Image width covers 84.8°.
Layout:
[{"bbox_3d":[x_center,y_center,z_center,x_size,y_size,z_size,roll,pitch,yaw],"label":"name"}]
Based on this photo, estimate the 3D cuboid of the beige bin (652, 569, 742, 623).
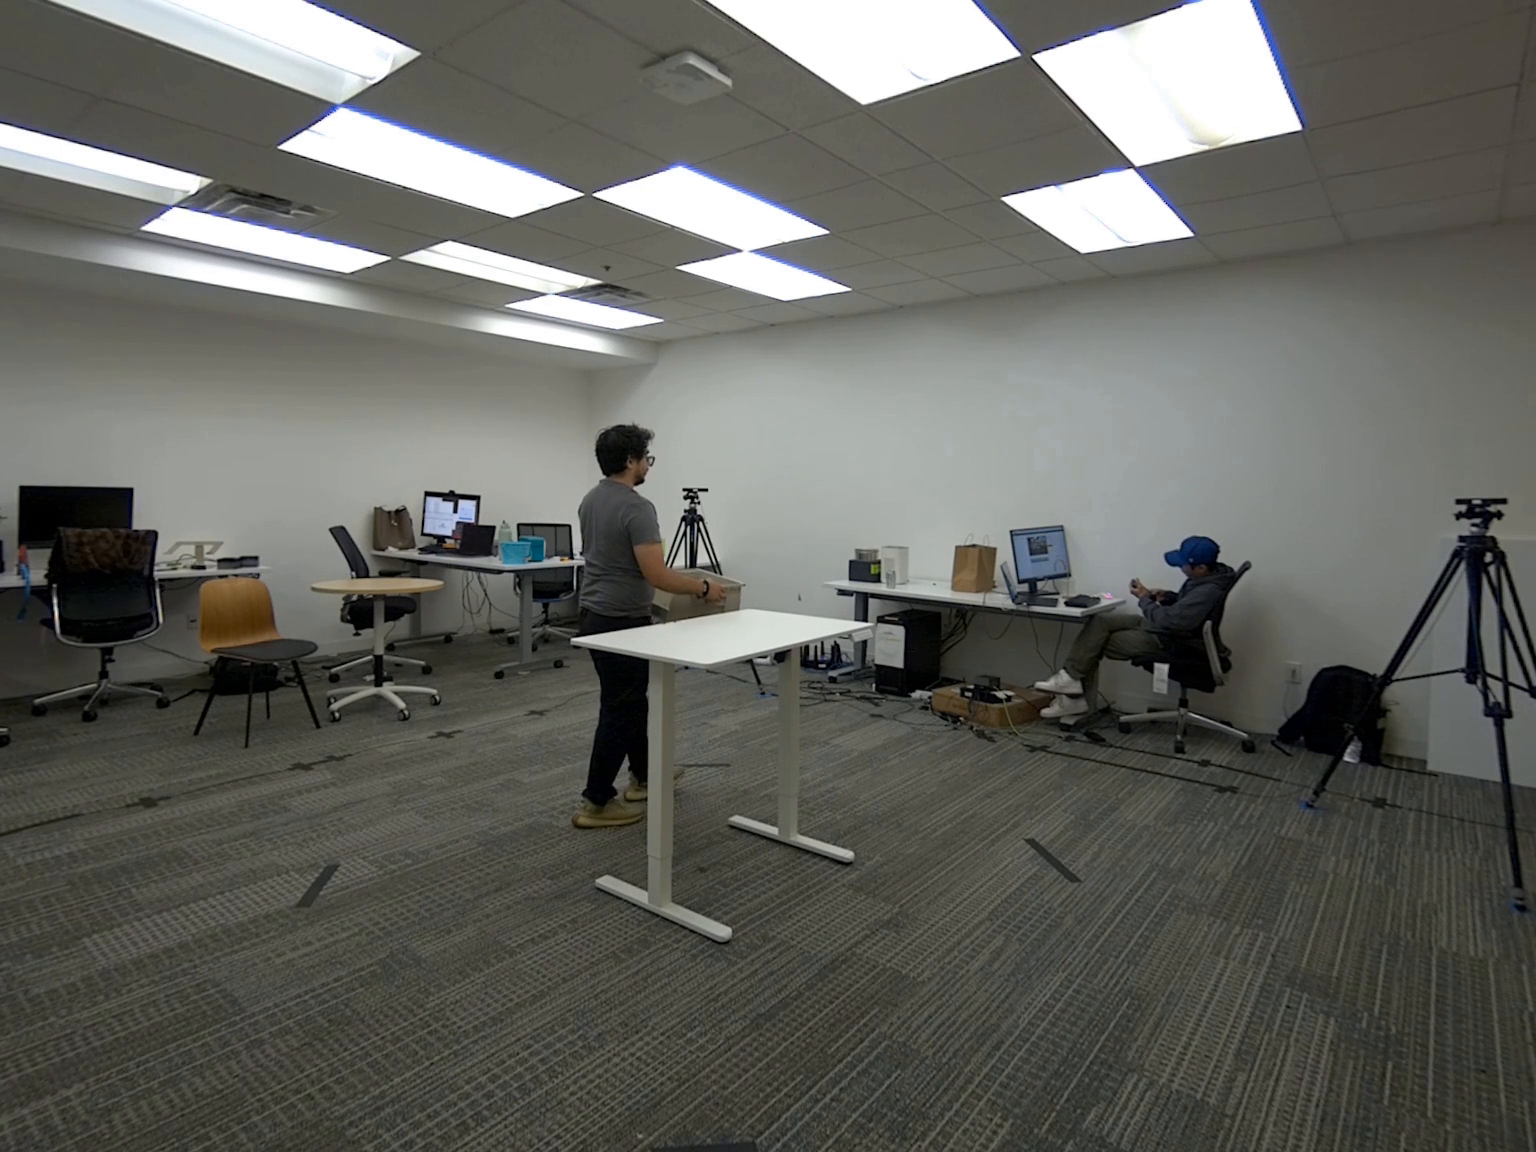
[{"bbox_3d":[-0.383,0.091,3.773,0.367,0.188,0.437,-2,10,-33],"label":"beige bin"}]
